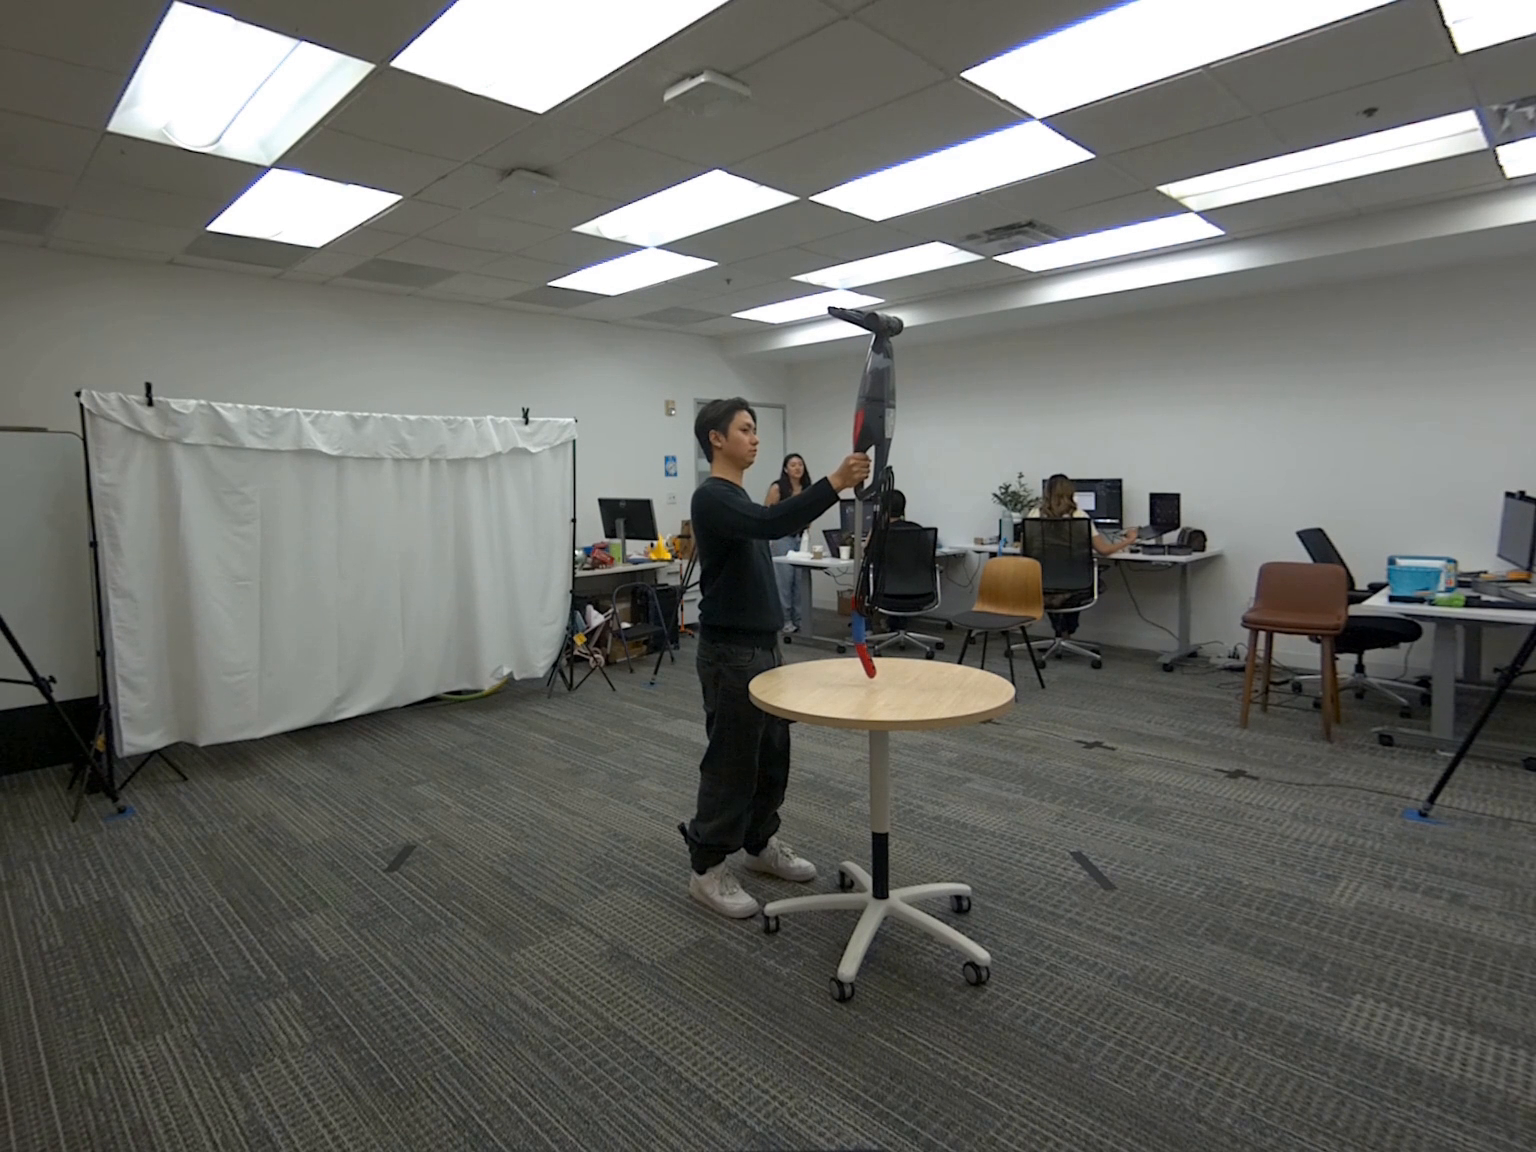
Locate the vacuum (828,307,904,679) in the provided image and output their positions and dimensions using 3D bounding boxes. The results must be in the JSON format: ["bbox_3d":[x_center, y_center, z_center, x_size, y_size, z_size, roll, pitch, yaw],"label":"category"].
[{"bbox_3d":[0.309,-0.229,2.464,0.148,1.046,0.246,2,4,42],"label":"vacuum"}]
